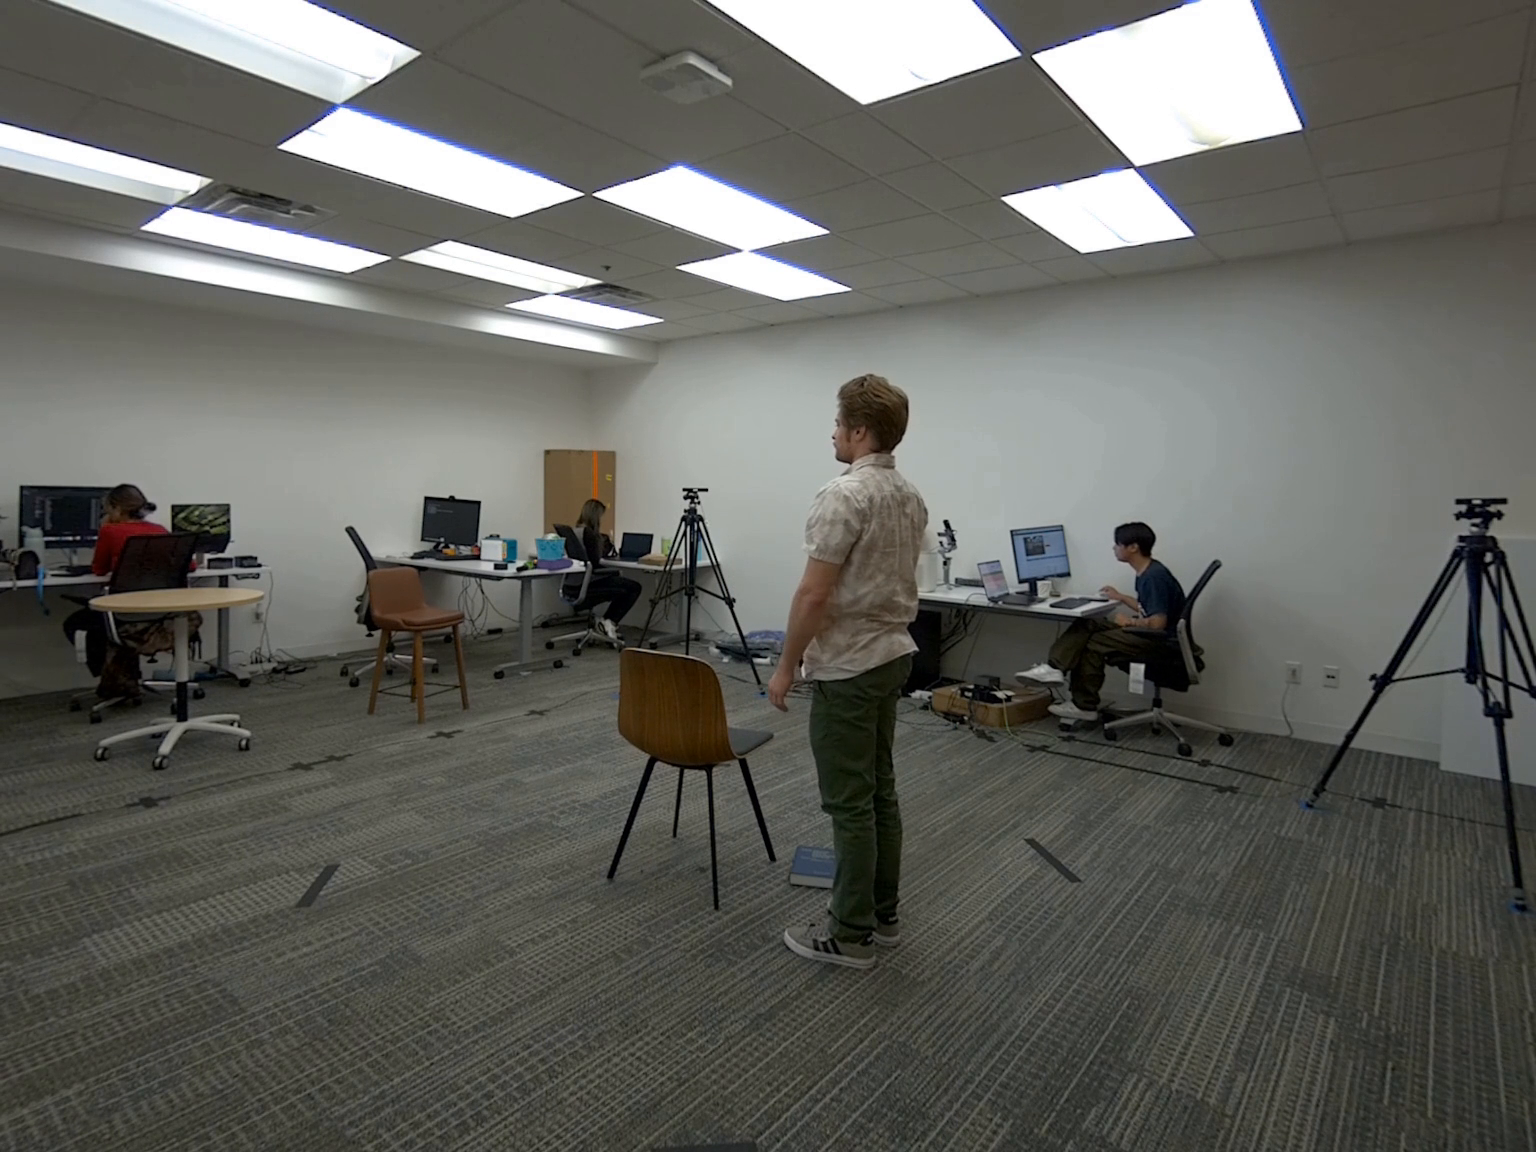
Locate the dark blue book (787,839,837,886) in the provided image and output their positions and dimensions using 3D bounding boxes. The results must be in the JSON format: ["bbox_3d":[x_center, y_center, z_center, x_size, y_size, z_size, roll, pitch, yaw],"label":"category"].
[{"bbox_3d":[0.168,1.050,3.098,0.165,0.045,0.243,3,5,9],"label":"dark blue book"}]
